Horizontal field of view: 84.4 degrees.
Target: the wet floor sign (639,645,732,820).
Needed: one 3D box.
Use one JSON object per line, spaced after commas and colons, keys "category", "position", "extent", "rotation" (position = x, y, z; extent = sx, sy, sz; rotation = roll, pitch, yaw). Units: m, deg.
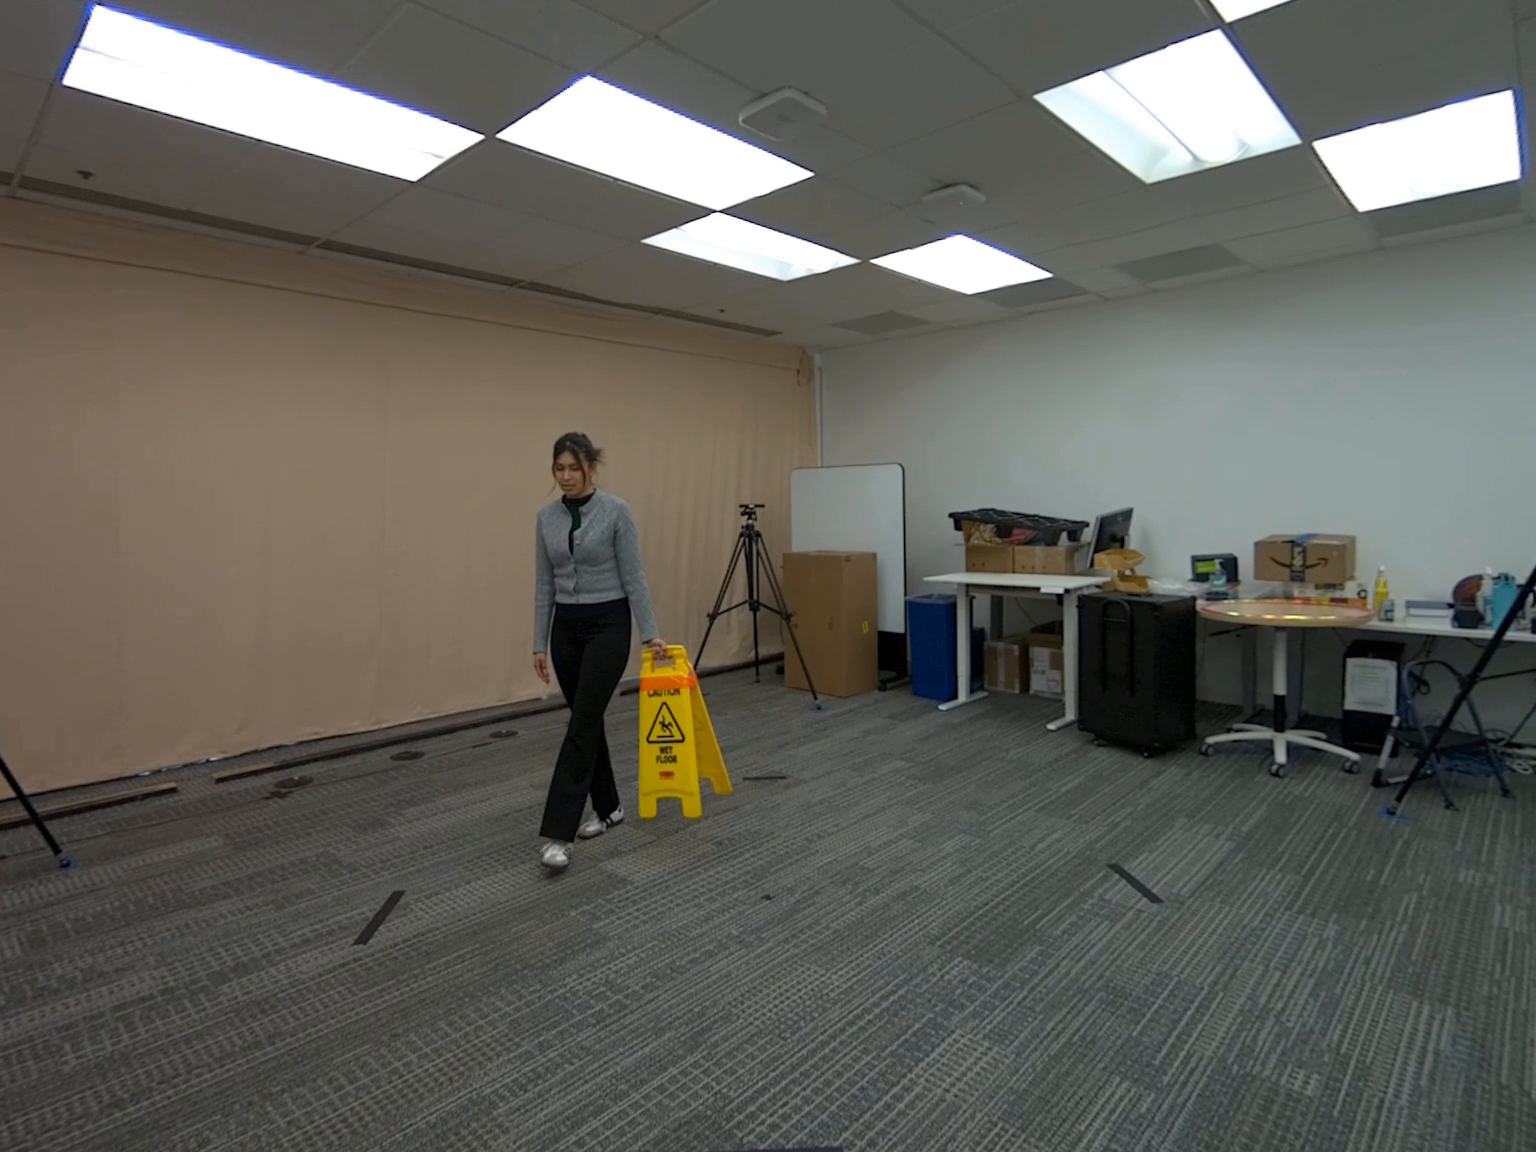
{"category": "wet floor sign", "position": [-0.373, 0.607, 3.395], "extent": [0.288, 0.646, 0.283], "rotation": [-9, 0, 25]}
